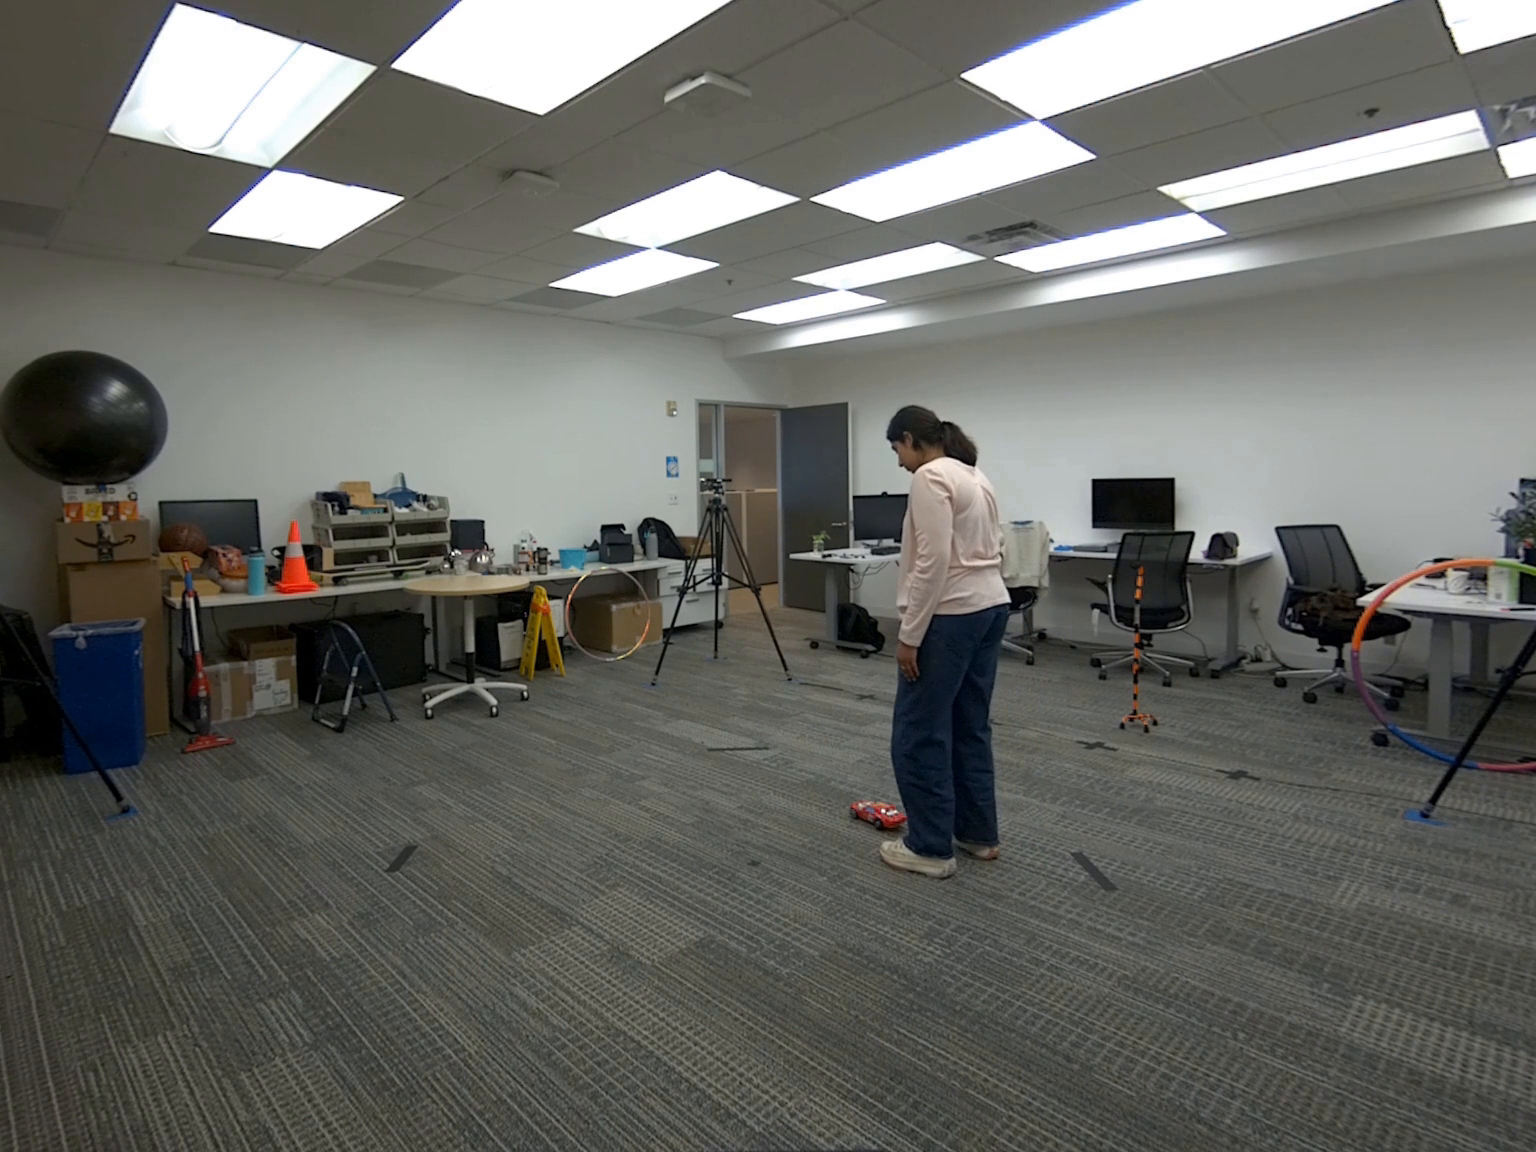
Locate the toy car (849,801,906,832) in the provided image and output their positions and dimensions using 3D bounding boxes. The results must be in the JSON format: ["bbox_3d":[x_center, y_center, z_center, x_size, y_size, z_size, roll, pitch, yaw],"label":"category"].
[{"bbox_3d":[0.453,0.967,3.452,0.127,0.083,0.260,-3,-4,-35],"label":"toy car"}]
